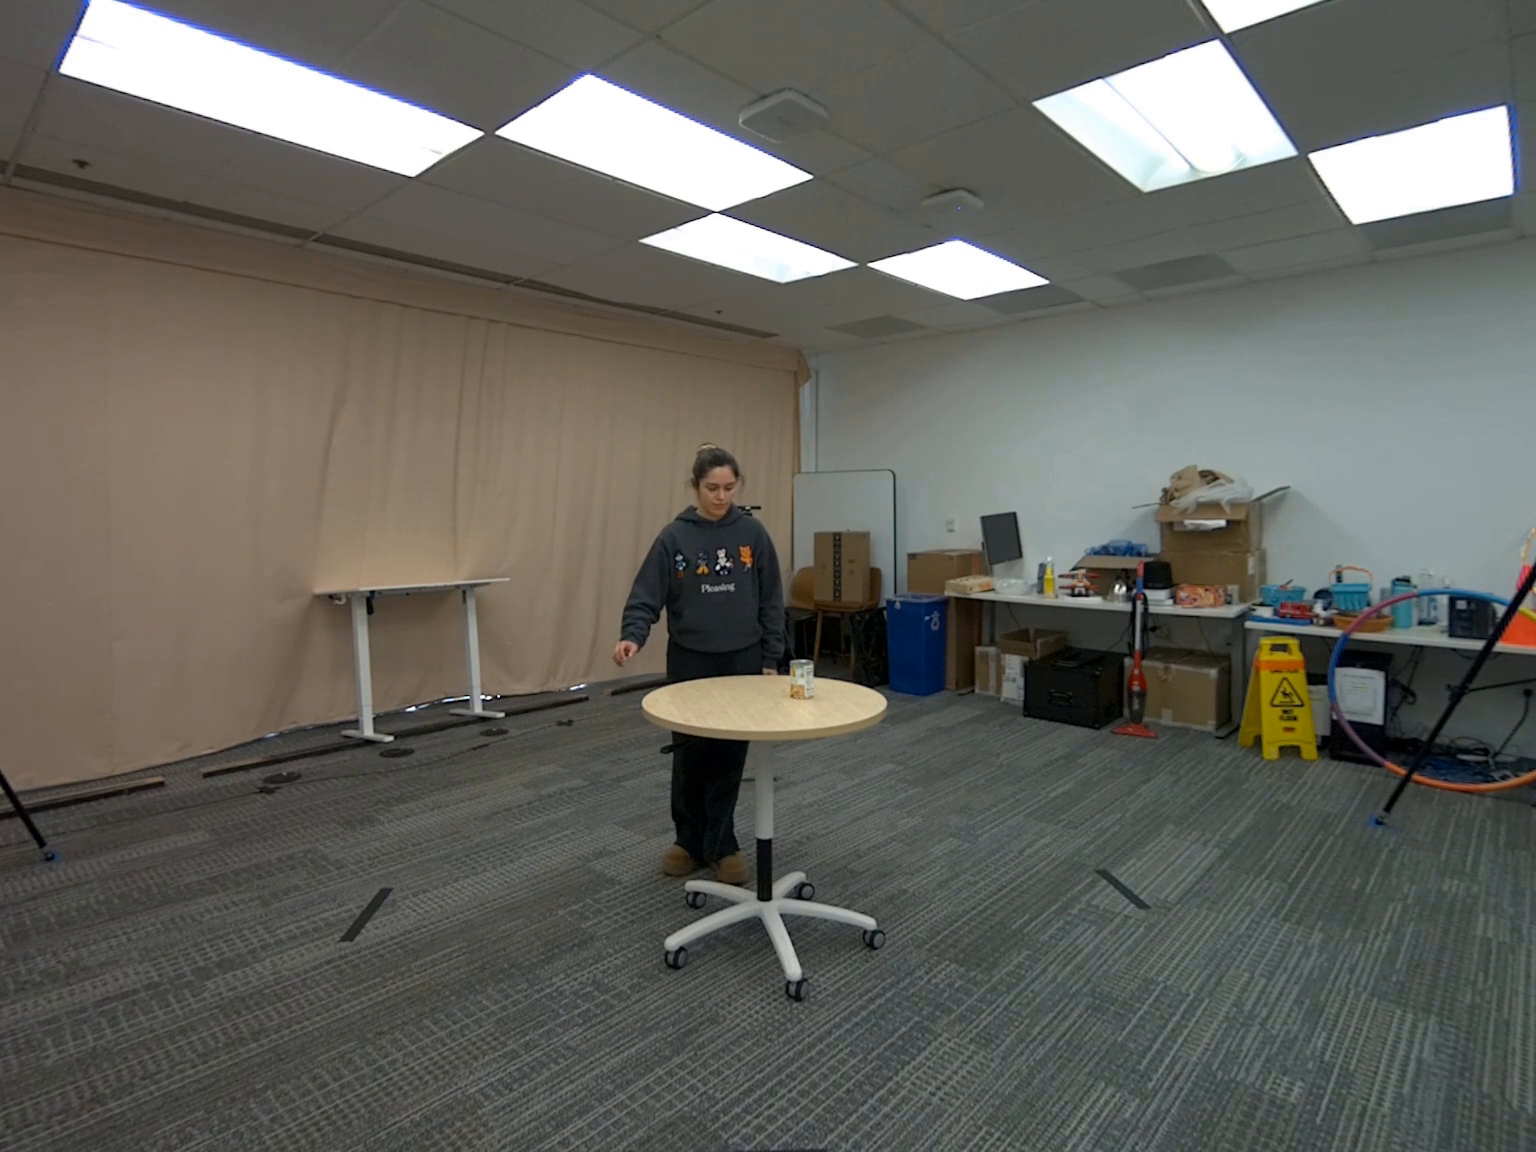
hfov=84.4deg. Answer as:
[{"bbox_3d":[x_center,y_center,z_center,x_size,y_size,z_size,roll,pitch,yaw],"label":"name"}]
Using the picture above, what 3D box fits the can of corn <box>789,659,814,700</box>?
[{"bbox_3d":[0.118,0.325,2.675,0.074,0.110,0.074,-5,5,-1],"label":"can of corn"}]
